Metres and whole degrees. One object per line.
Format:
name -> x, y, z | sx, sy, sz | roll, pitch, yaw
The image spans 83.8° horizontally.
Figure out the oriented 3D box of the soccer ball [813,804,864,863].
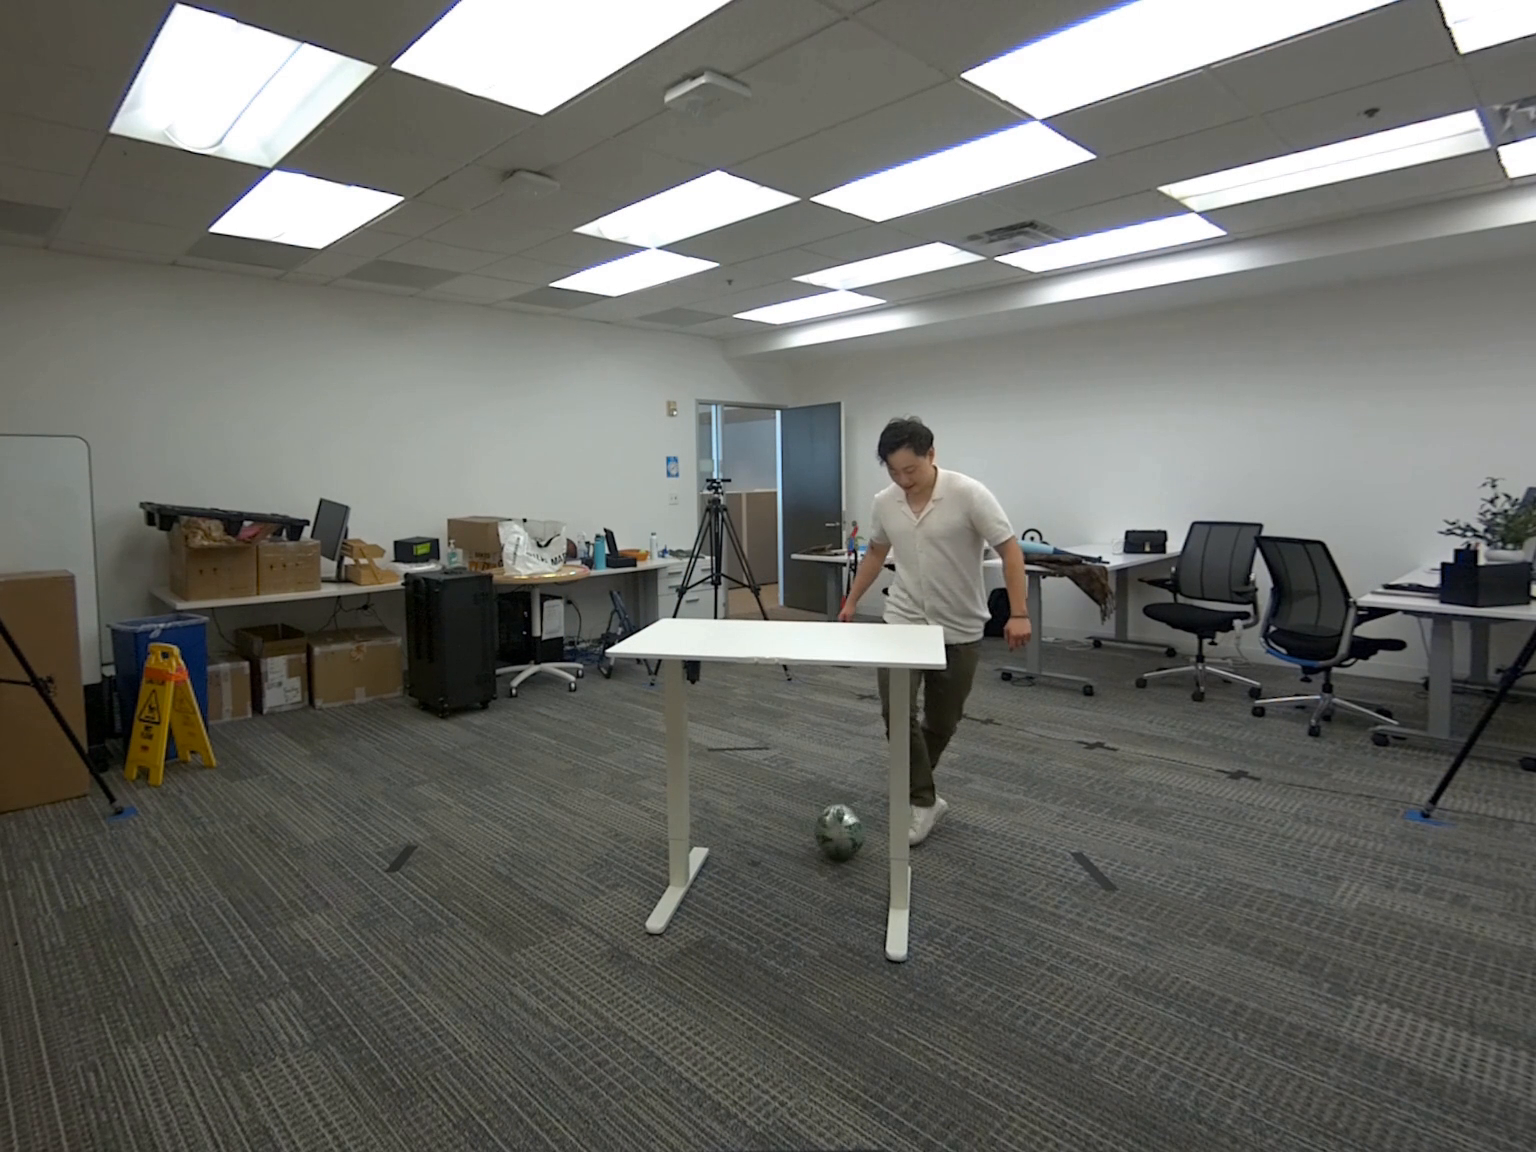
soccer ball -> 0.264, 0.939, 3.146 | 0.187, 0.187, 0.188 | -1, 5, -2
